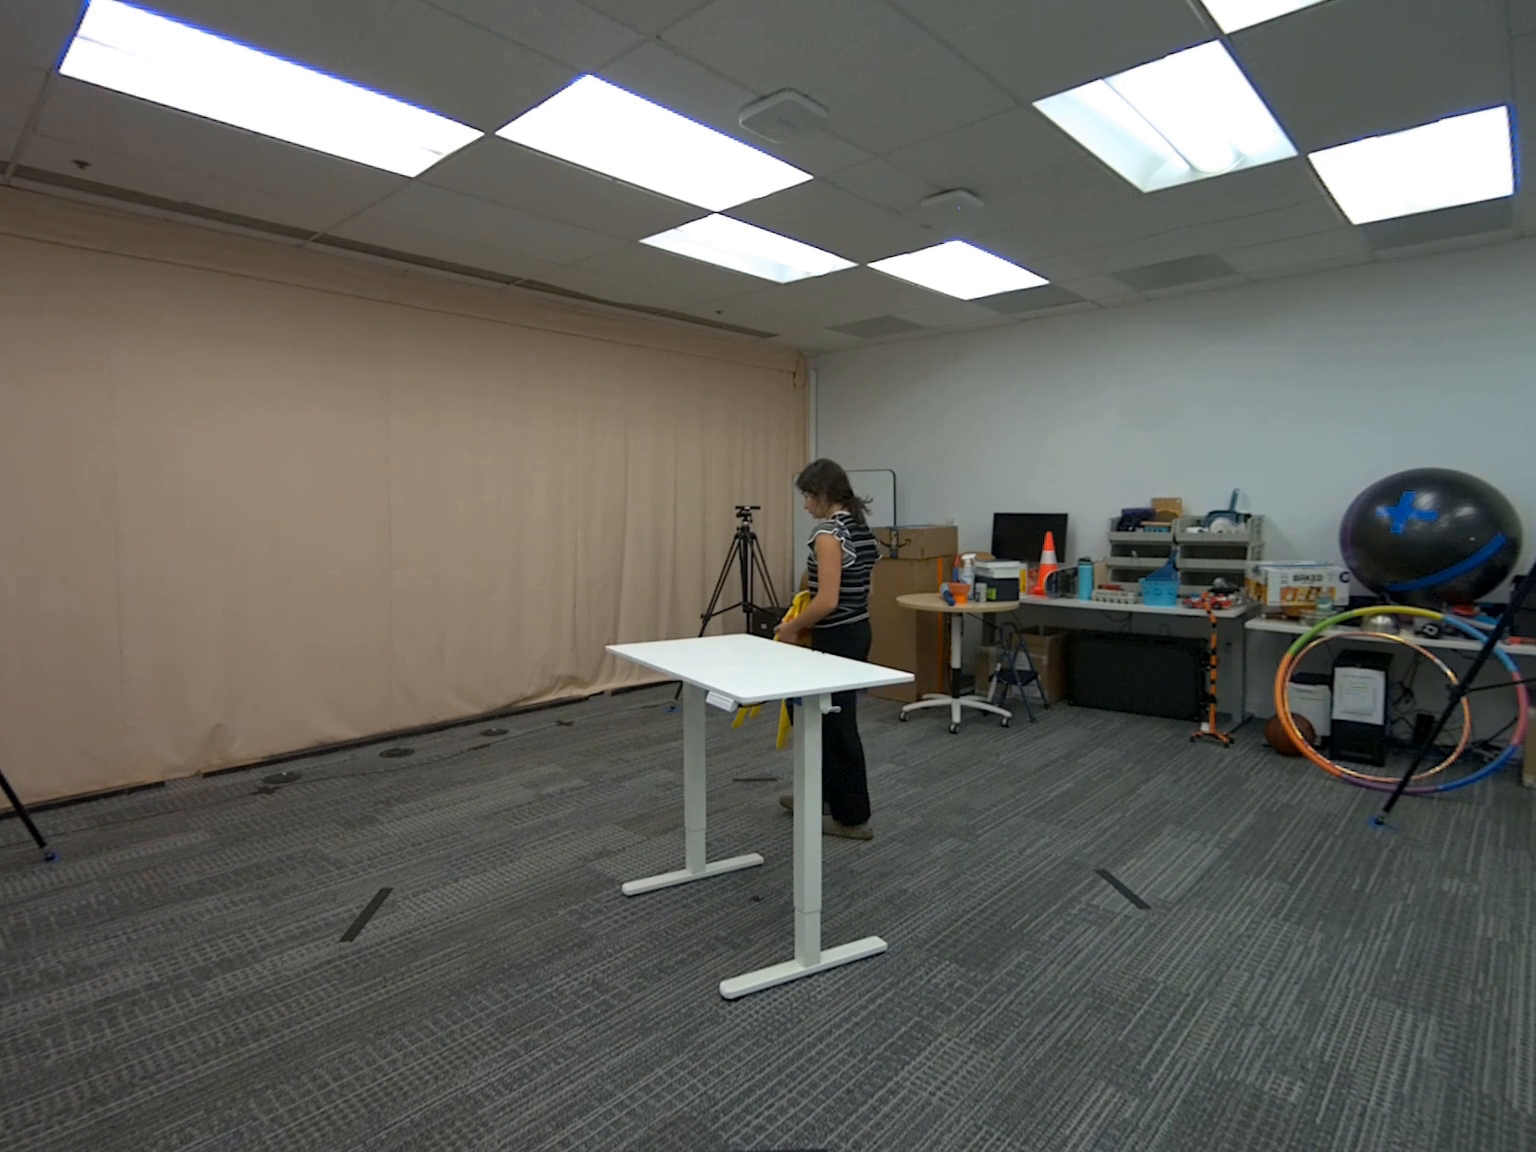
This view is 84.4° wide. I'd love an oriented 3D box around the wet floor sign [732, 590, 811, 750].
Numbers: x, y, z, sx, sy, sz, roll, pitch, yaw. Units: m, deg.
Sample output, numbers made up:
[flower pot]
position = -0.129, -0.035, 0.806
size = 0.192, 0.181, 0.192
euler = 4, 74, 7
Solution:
[wet floor sign]
position = 0.091, 0.383, 3.661
size = 0.297, 0.644, 0.276
euler = 17, 10, 20
